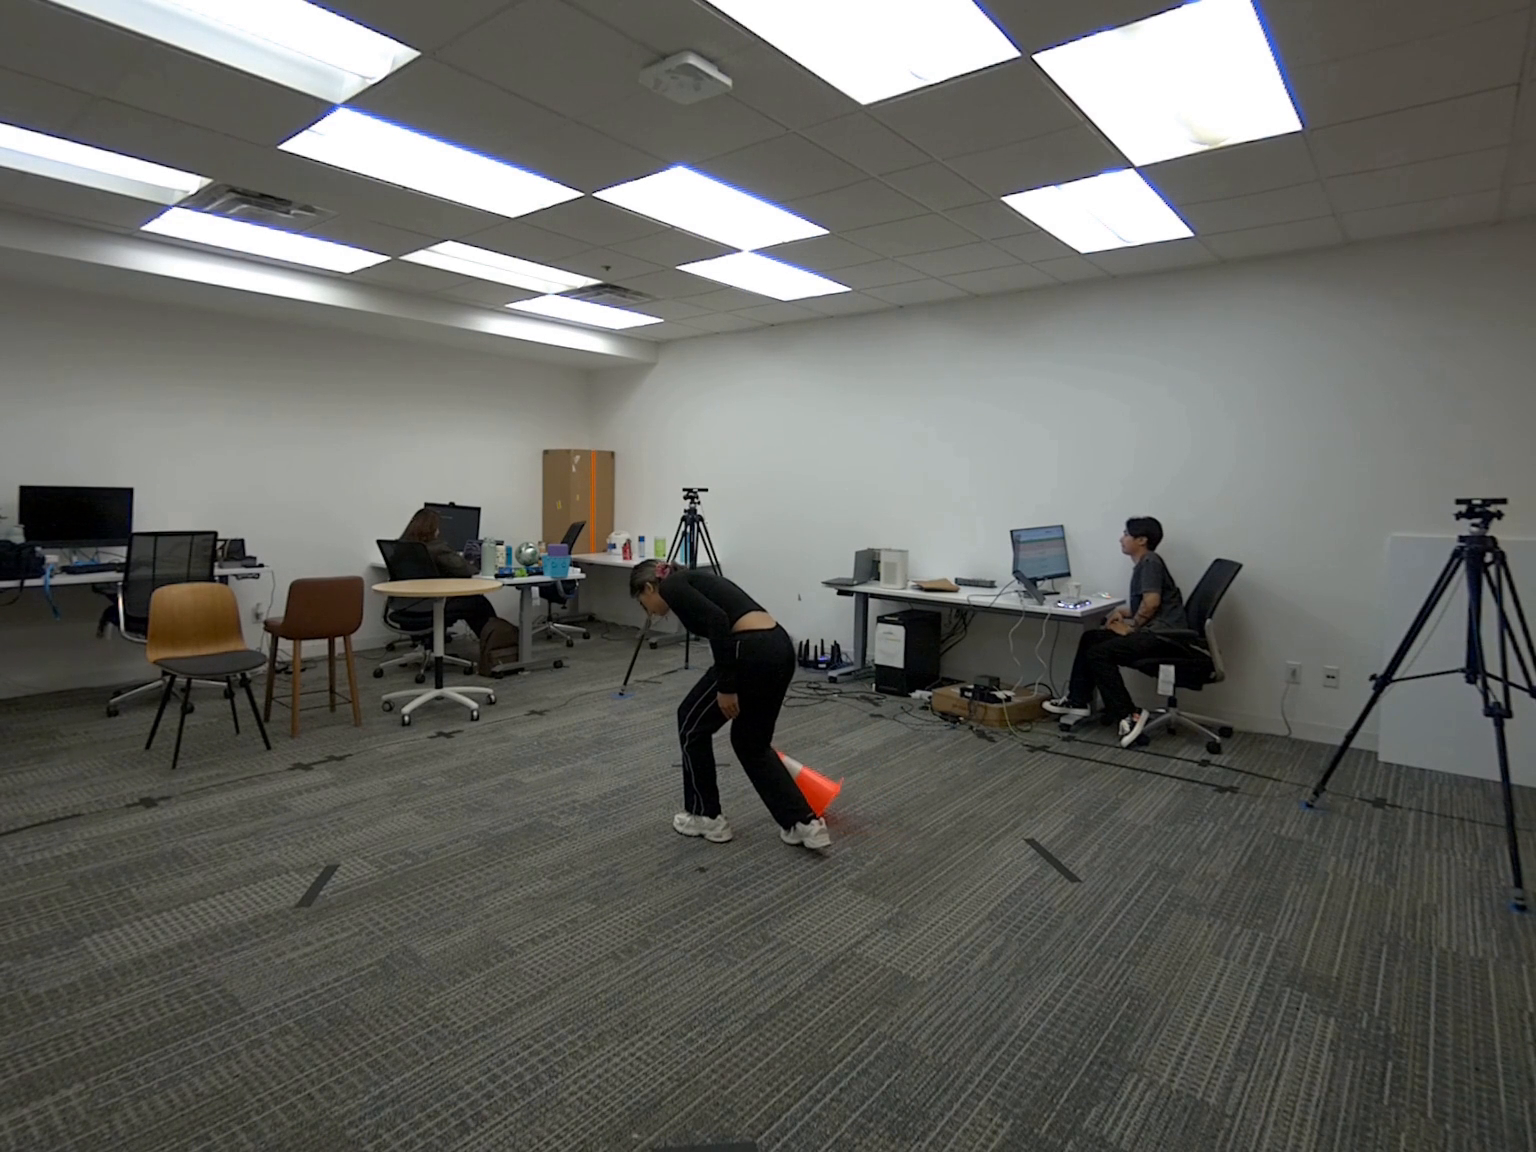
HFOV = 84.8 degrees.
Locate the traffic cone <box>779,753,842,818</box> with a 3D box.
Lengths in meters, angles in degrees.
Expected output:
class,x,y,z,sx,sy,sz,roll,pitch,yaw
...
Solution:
class,x,y,z,sx,sy,sz,roll,pitch,yaw
traffic cone,0.098,0.837,3.653,0.390,0.203,0.202,37,7,10
